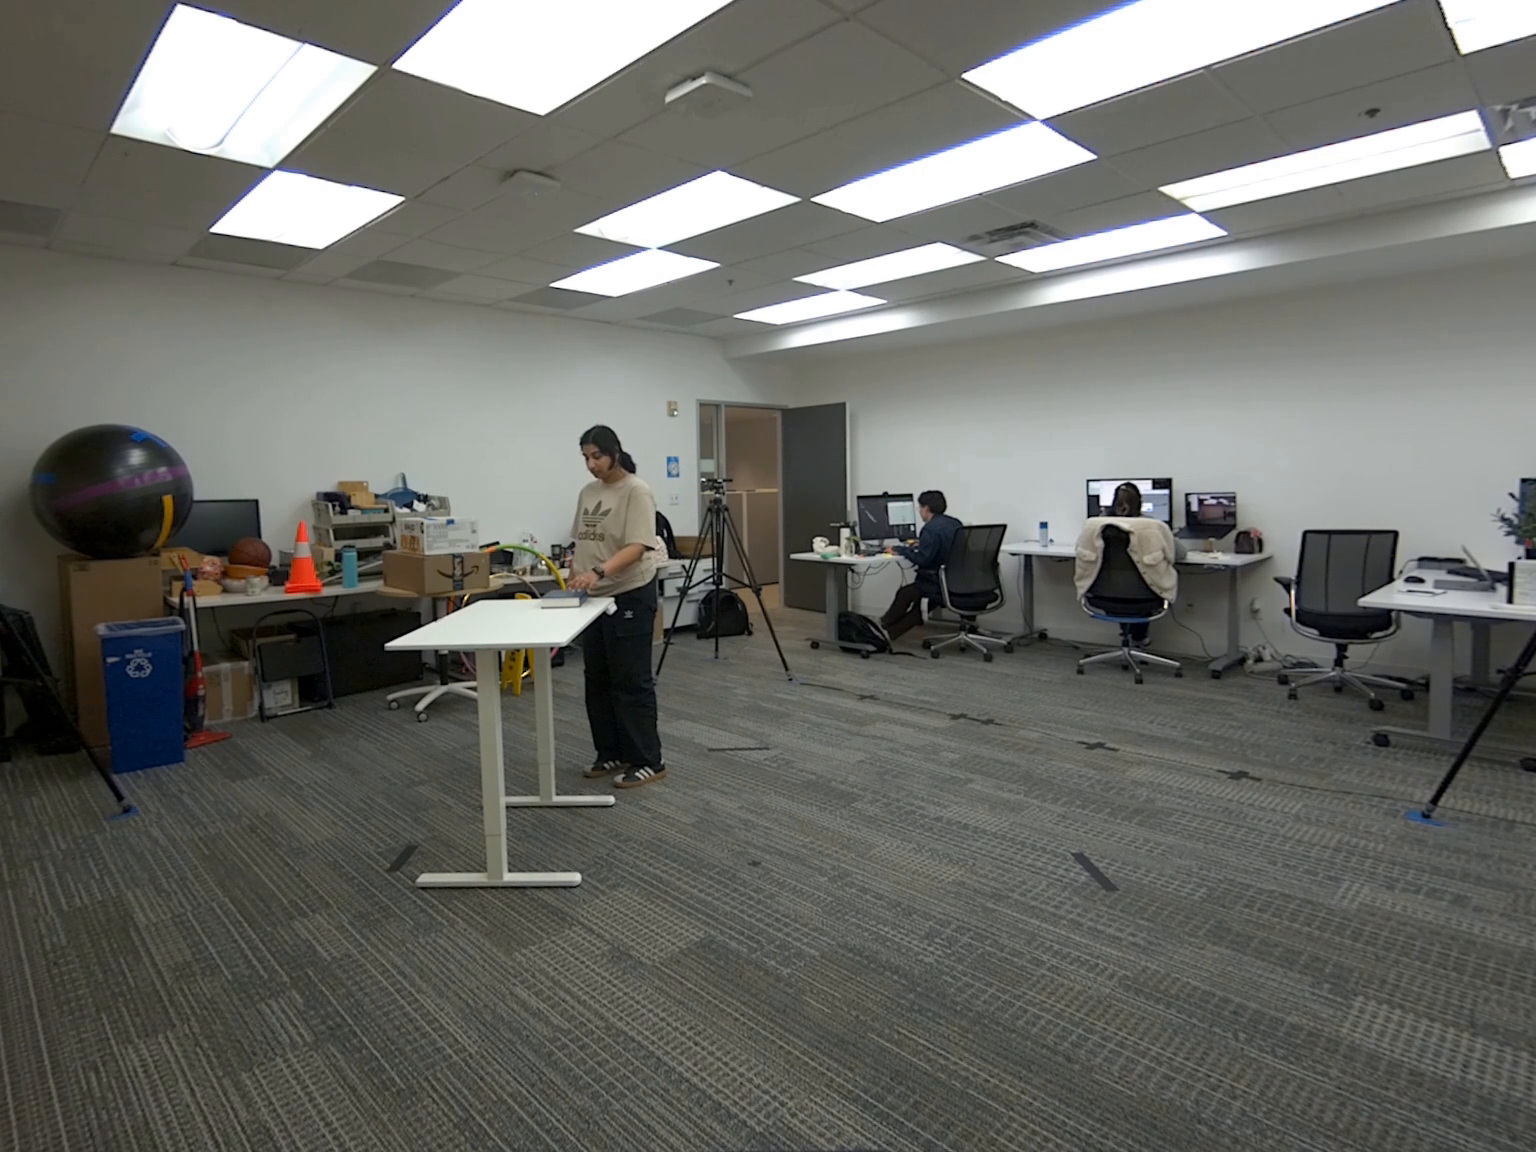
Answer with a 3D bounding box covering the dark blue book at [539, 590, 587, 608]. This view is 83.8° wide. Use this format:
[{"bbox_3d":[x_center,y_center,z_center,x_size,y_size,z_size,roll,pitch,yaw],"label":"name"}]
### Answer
[{"bbox_3d":[-0.857,0.094,3.646,0.164,0.045,0.246,-1,7,1],"label":"dark blue book"}]
